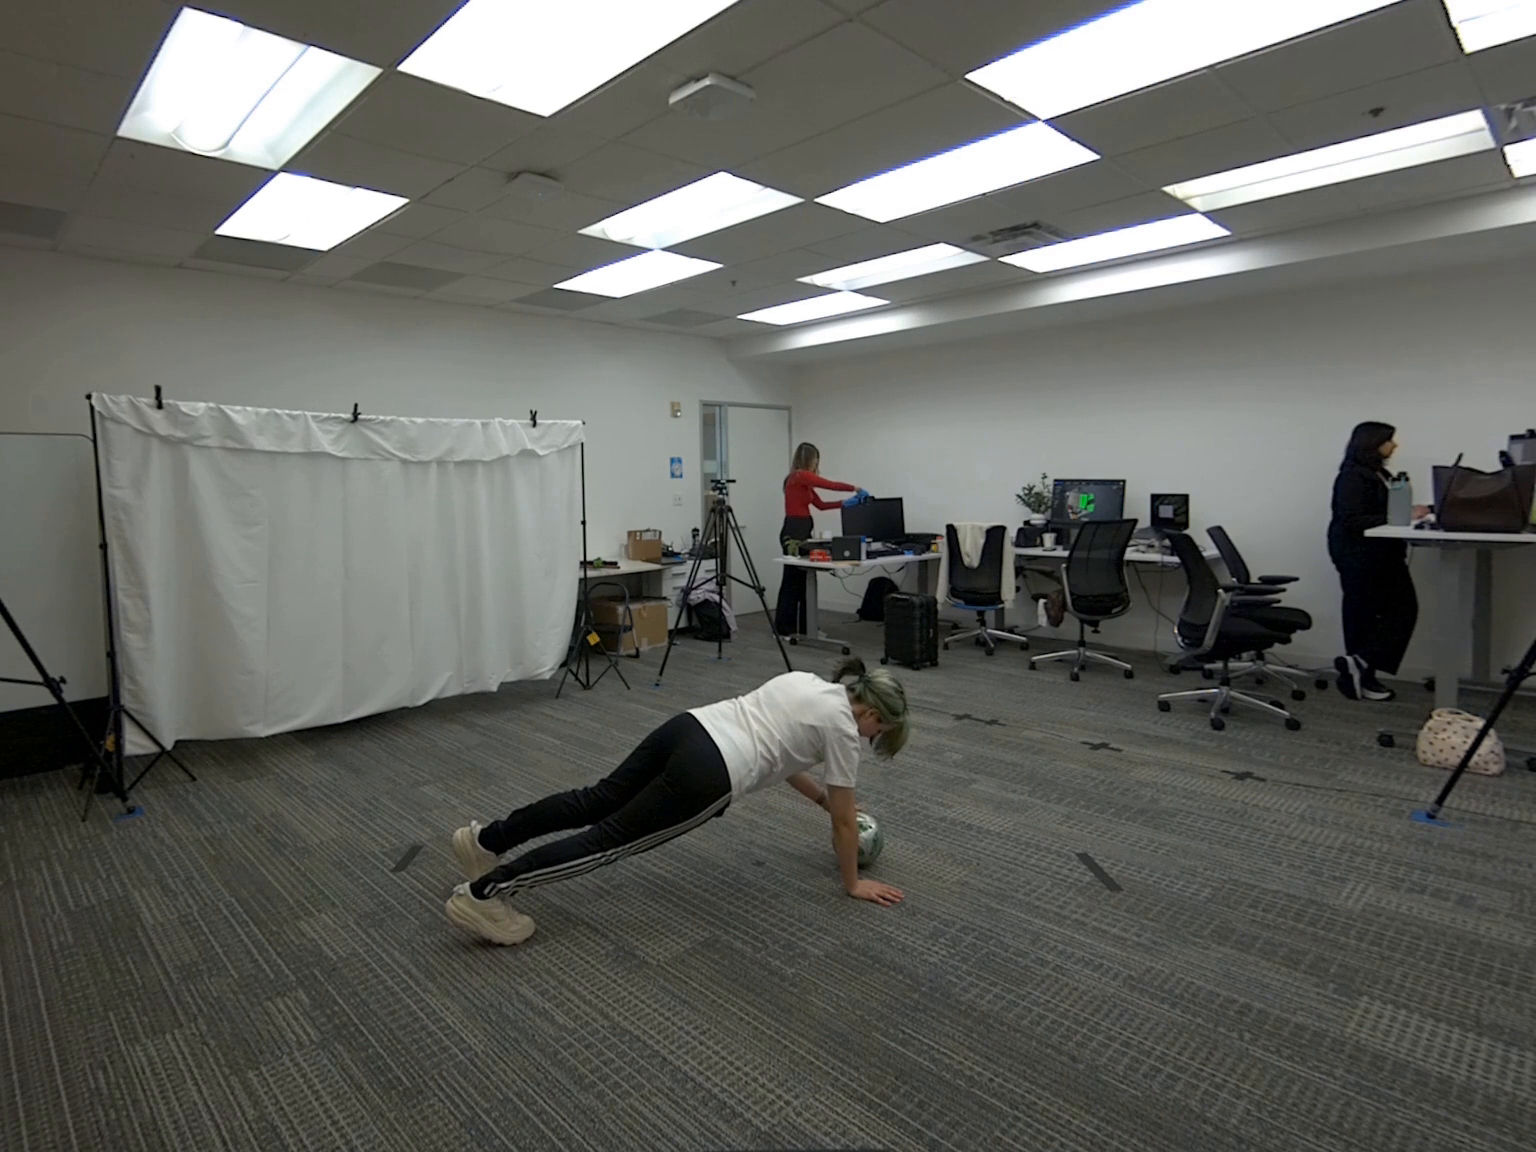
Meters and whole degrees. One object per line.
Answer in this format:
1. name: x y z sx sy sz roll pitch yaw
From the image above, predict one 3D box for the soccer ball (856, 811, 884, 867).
1. soccer ball: 0.318 0.947 3.088 0.187 0.187 0.188 -1 5 -2
